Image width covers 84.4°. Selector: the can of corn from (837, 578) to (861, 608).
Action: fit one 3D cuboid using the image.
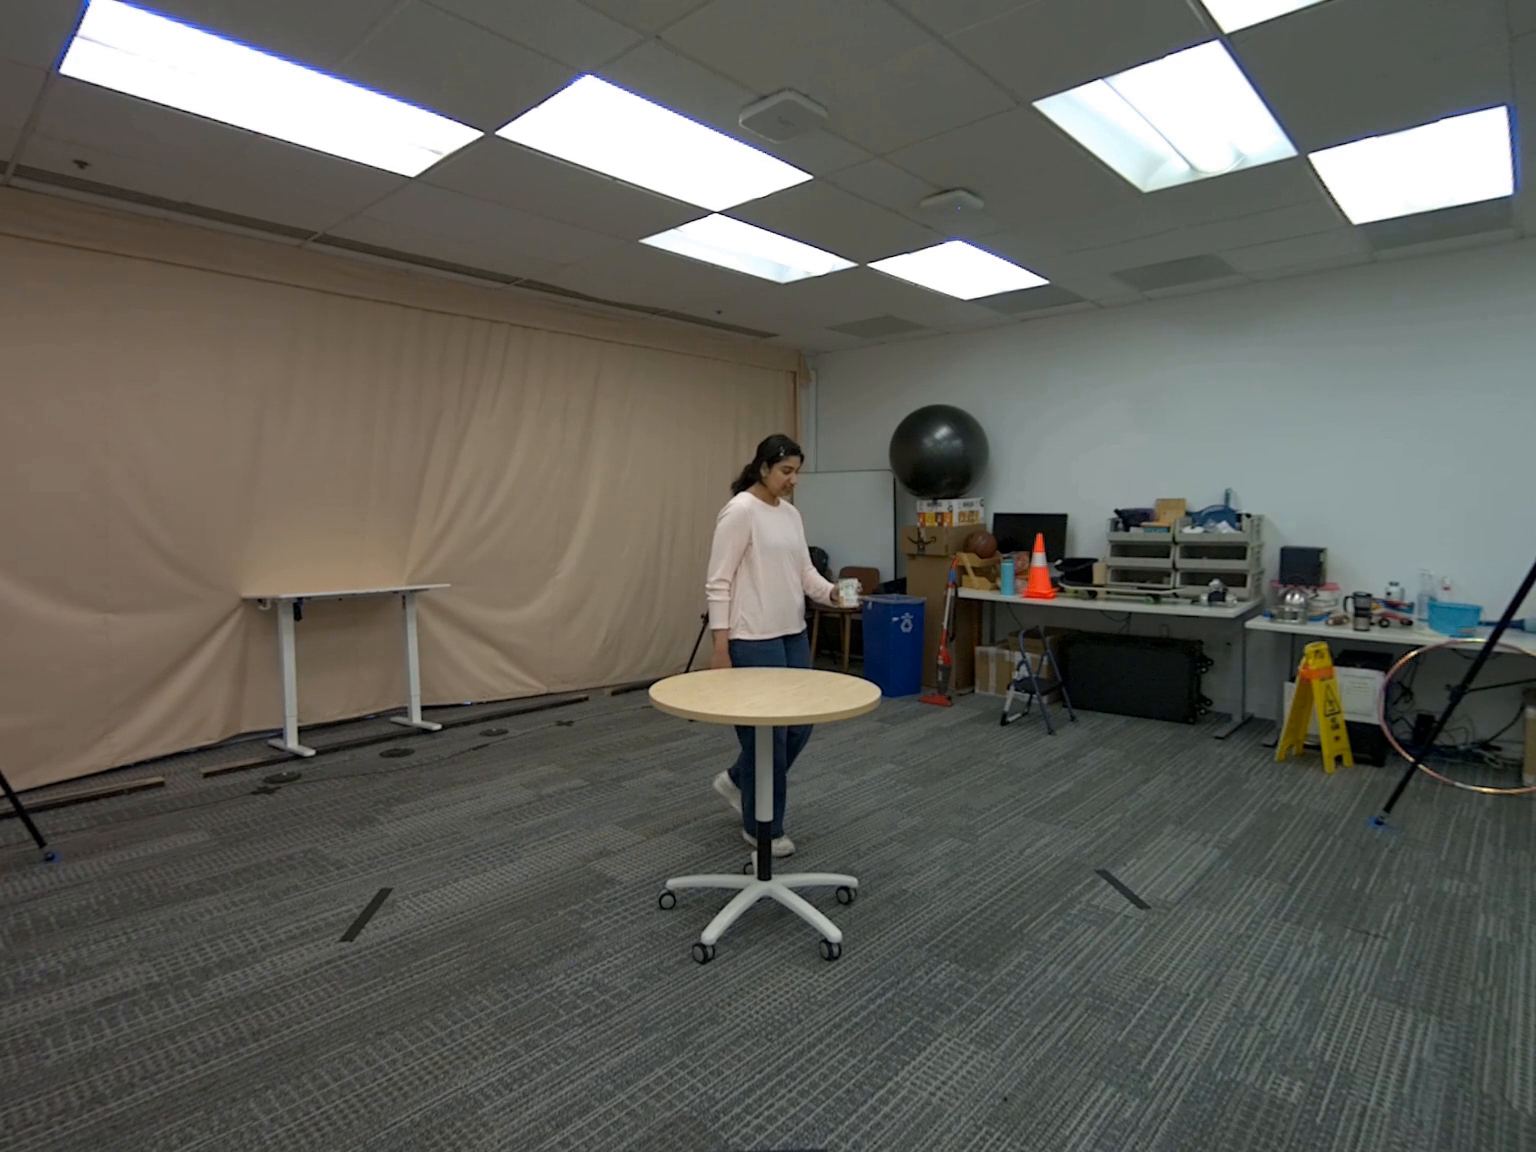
[{"bbox_3d":[0.314,0.068,3.290,0.074,0.111,0.074,-2,2,-2],"label":"can of corn"}]
